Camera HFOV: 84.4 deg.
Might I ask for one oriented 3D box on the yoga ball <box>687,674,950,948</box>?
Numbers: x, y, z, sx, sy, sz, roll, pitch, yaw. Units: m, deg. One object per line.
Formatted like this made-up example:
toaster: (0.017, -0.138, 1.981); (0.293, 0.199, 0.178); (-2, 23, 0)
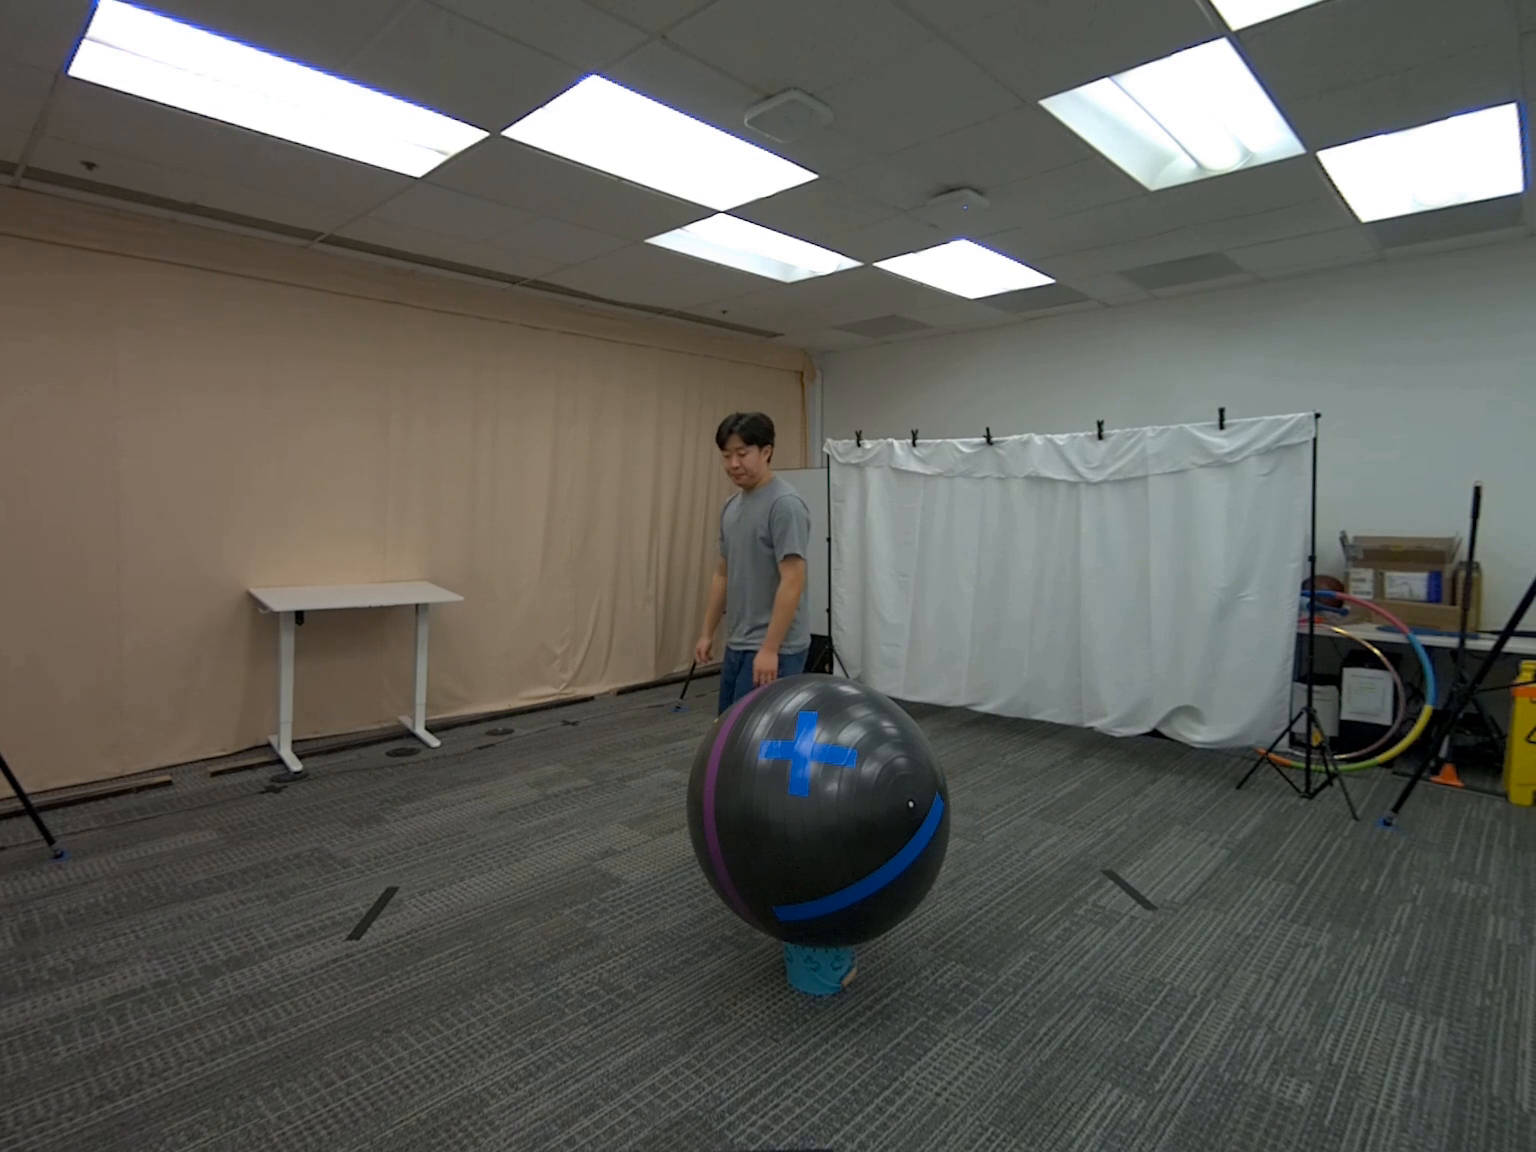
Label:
yoga ball: (0.149, 0.680, 2.457); (0.757, 0.756, 0.760); (0, 4, -2)
